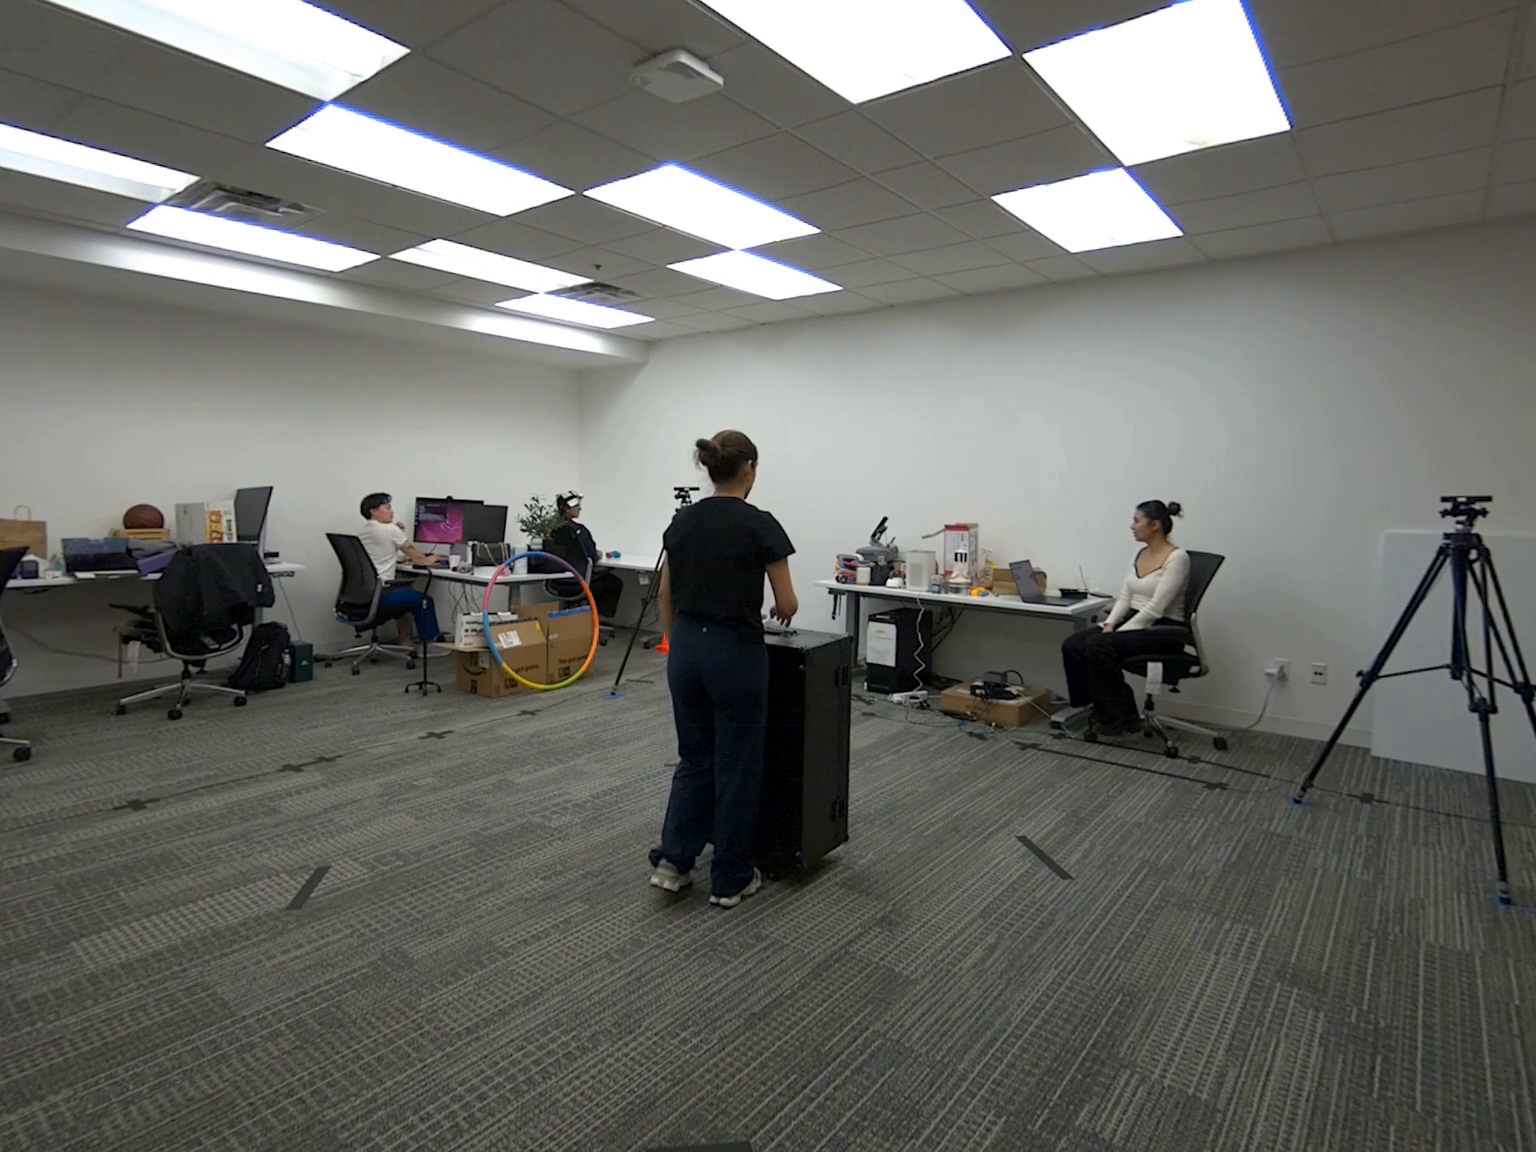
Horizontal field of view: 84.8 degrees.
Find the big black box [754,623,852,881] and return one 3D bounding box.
[{"bbox_3d":[0.031,0.636,3.207,0.538,0.859,0.385,3,4,35],"label":"big black box"}]
